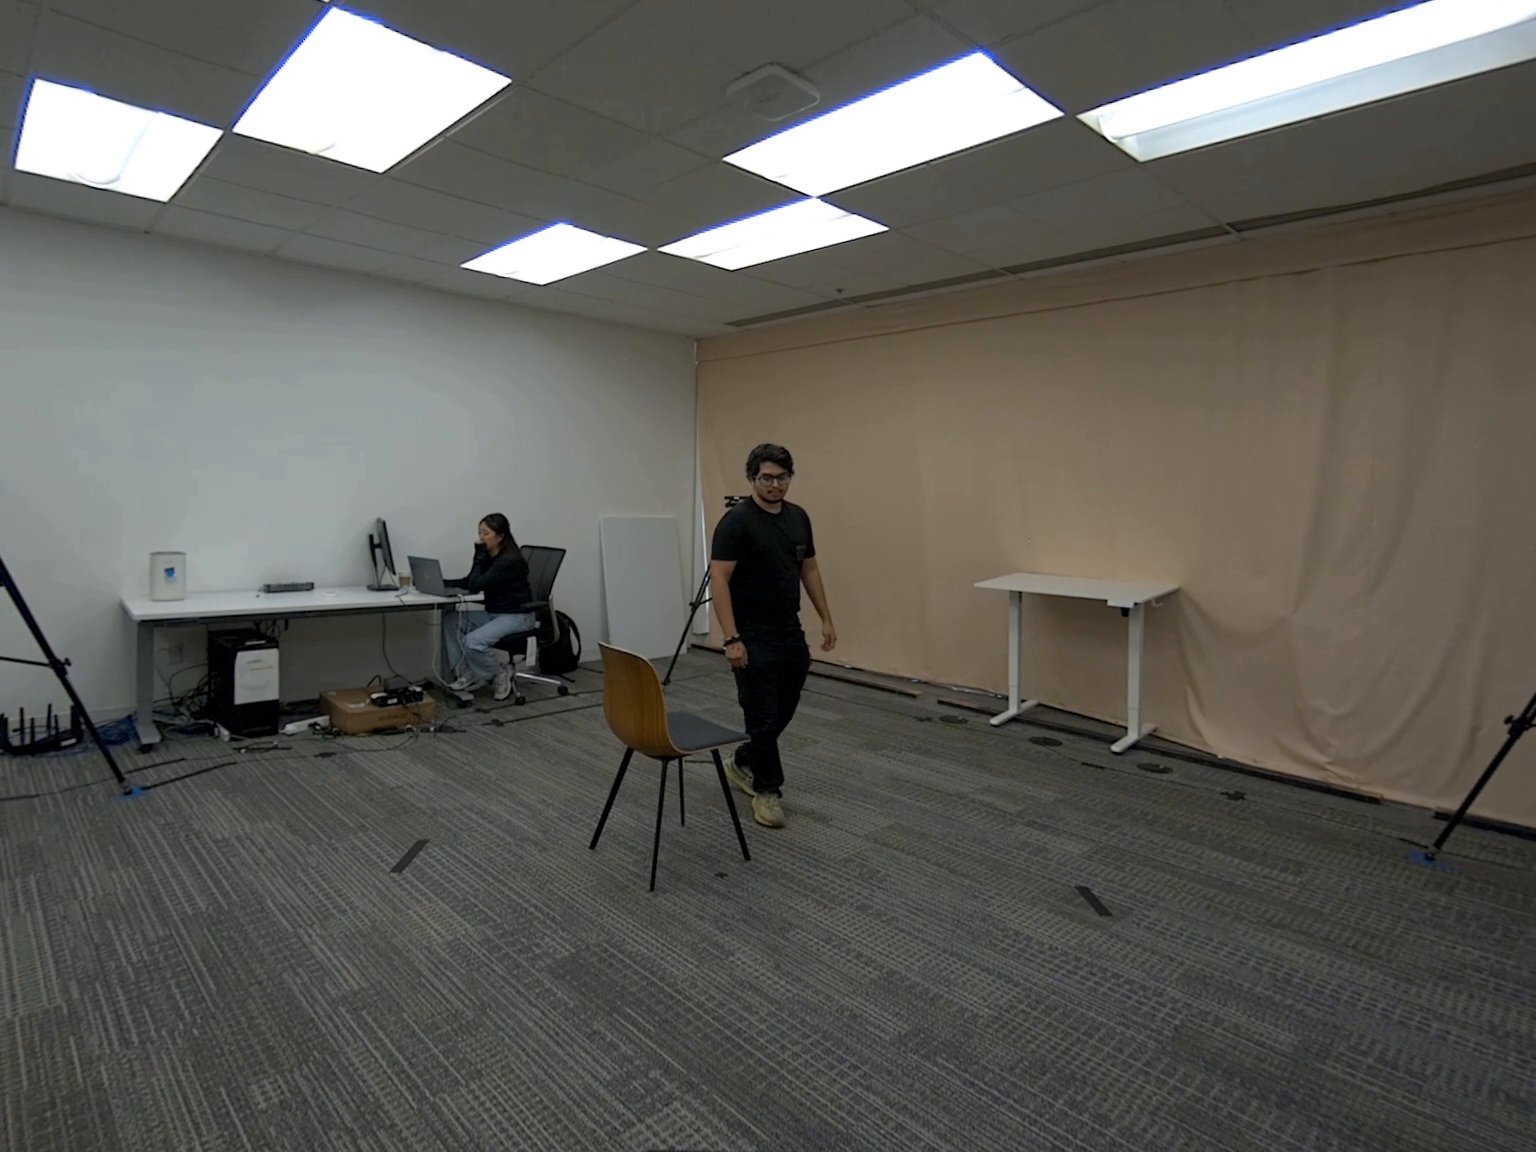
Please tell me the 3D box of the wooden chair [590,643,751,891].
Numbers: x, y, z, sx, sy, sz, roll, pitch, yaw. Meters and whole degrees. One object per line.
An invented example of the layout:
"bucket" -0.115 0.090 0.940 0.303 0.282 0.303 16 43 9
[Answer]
"wooden chair" -0.373 0.659 3.245 0.512 0.873 0.490 -7 8 -39
